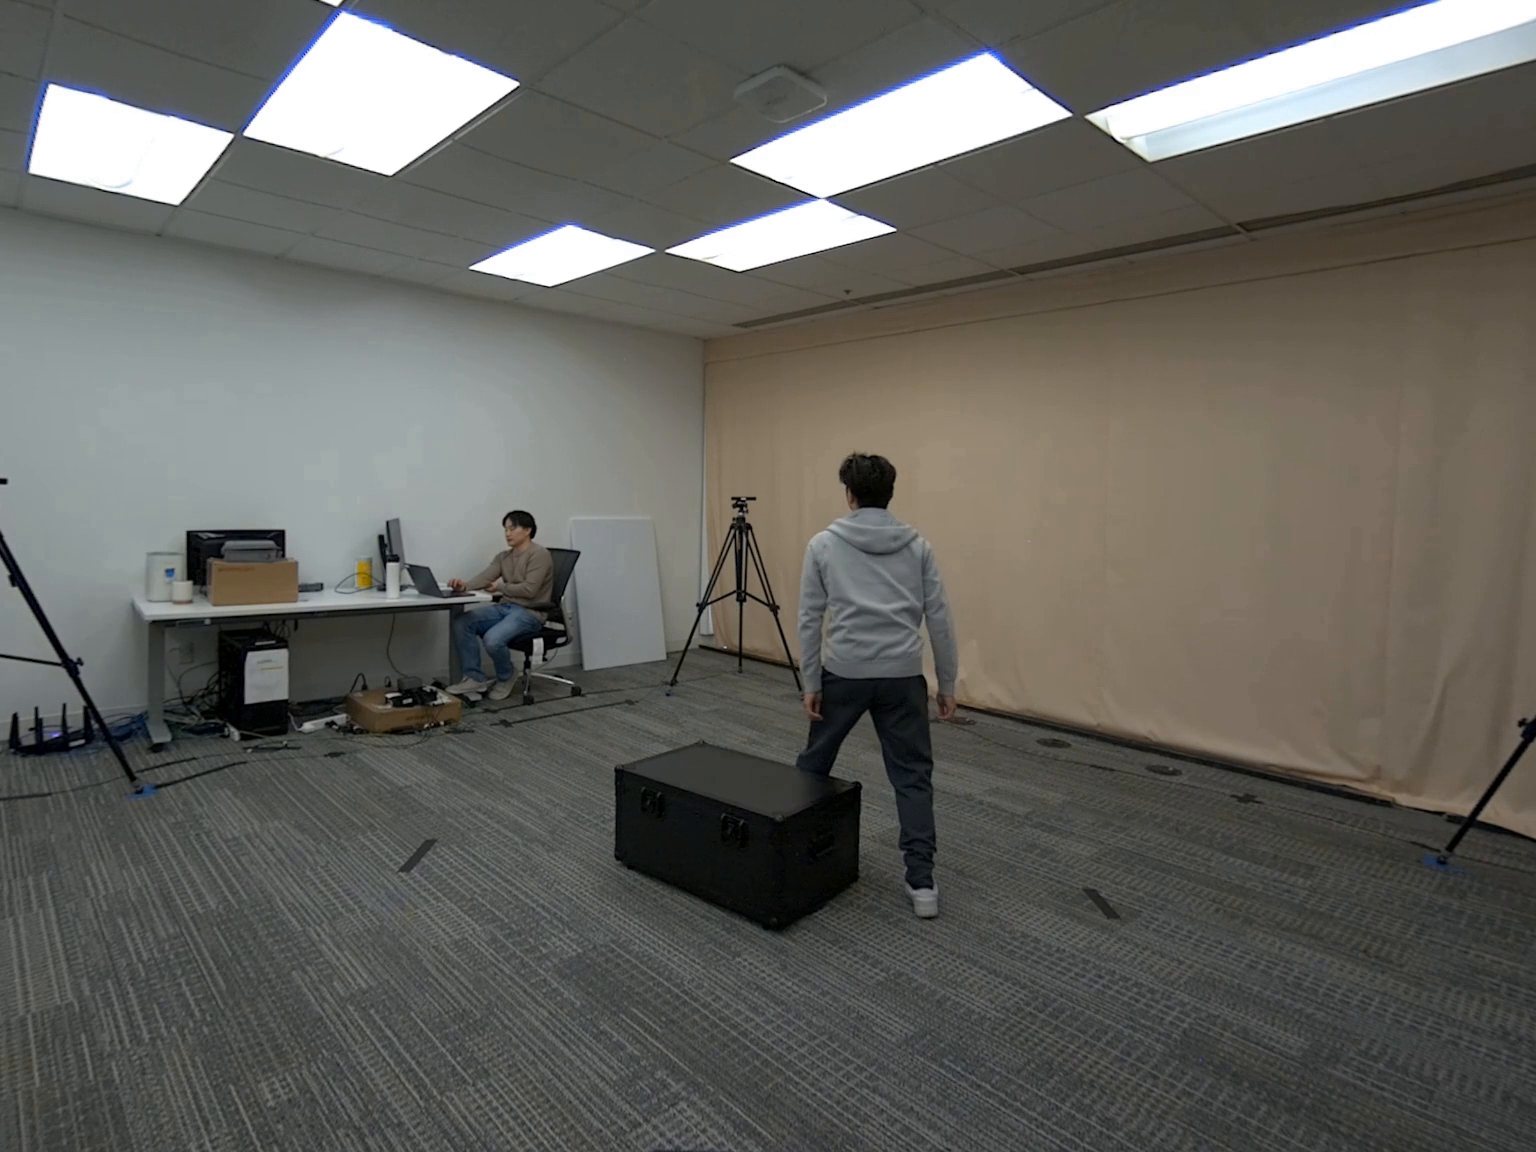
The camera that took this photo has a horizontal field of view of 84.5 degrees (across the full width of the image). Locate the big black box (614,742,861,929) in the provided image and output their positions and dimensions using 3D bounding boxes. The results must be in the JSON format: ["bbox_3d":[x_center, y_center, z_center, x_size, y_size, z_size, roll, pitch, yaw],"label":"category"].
[{"bbox_3d":[-0.114,0.920,3.073,0.883,0.395,0.510,5,6,40],"label":"big black box"}]
